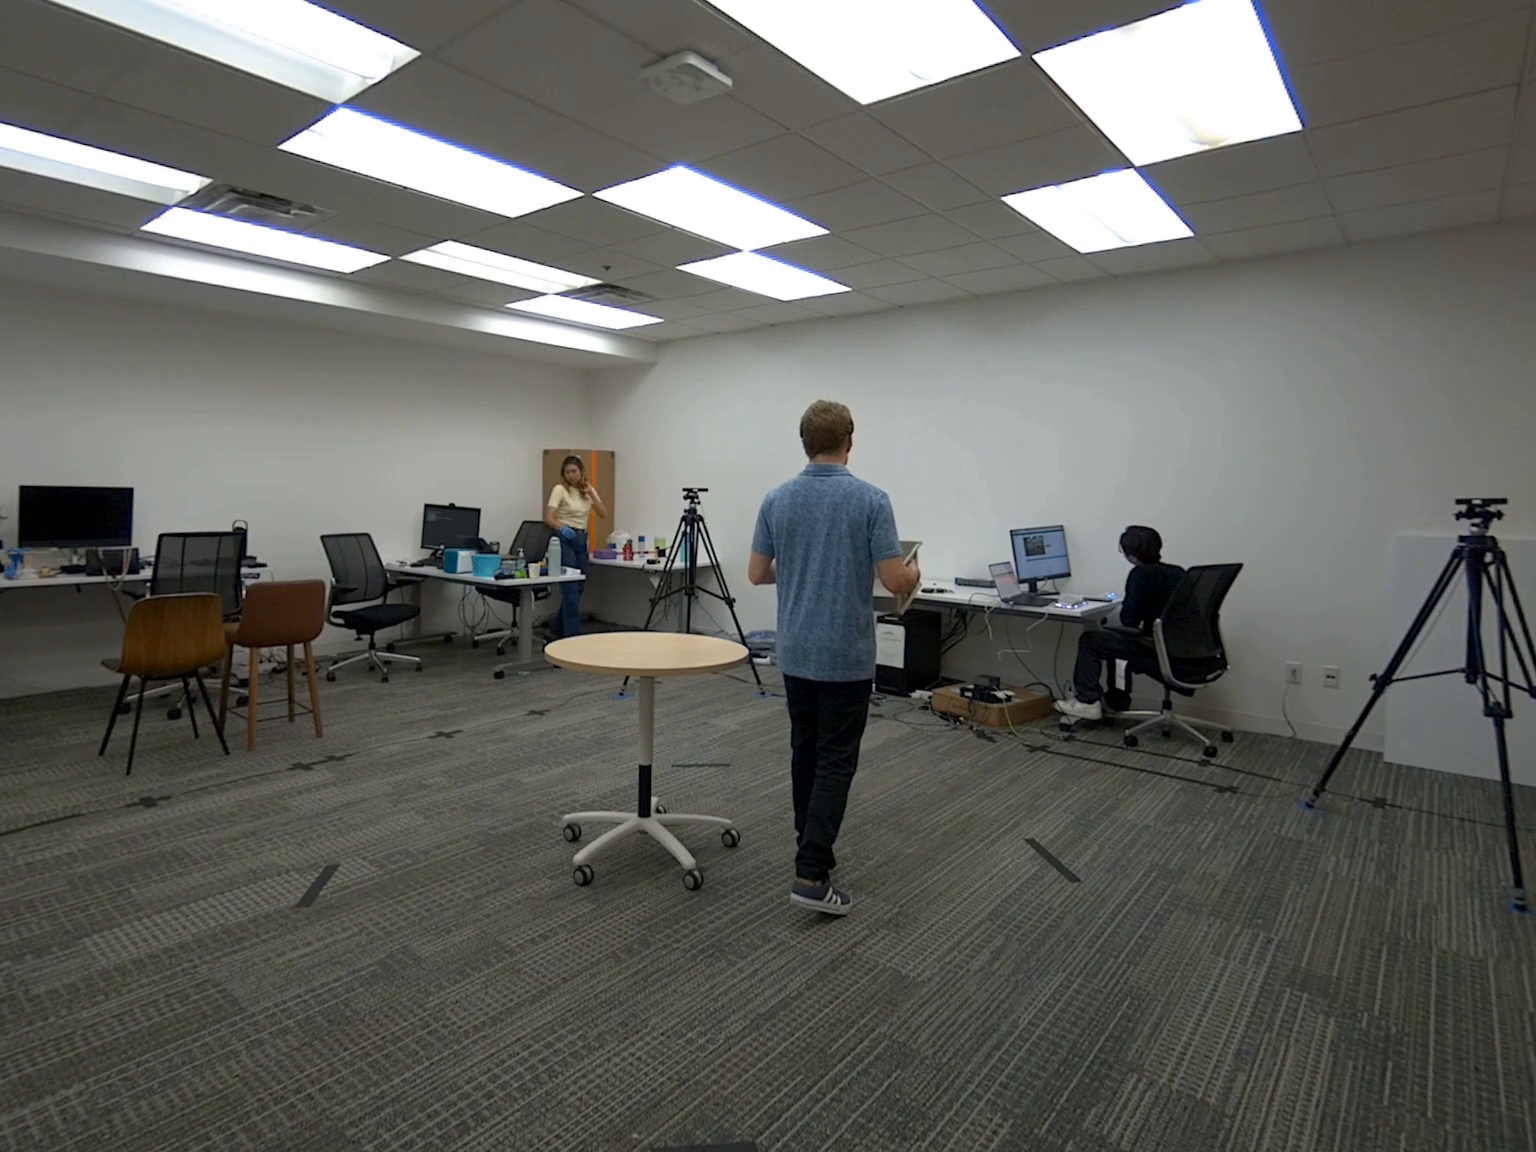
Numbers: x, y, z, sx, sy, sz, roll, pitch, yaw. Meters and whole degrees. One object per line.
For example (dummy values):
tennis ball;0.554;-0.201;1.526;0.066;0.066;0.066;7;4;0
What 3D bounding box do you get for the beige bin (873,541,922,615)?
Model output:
beige bin;0.337;-0.002;3.263;0.434;0.186;0.374;2;19;27
